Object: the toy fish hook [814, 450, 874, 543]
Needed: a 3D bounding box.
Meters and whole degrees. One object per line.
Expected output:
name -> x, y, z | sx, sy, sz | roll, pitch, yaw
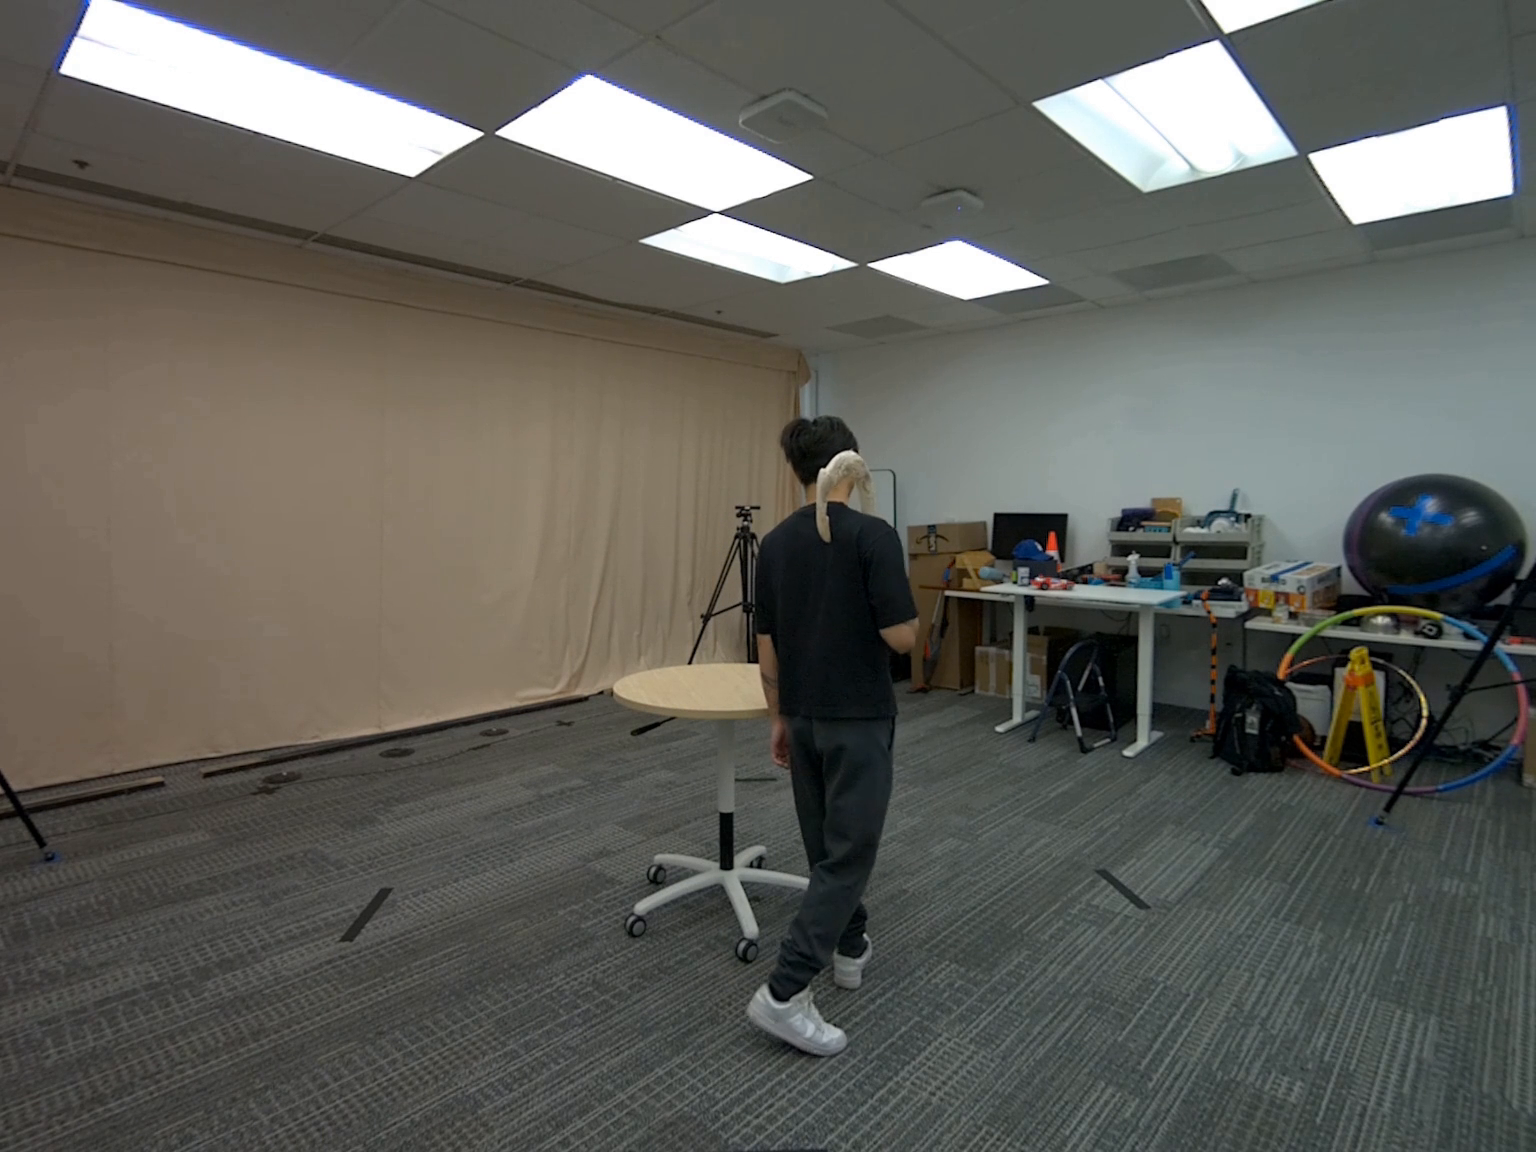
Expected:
toy fish hook -> 0.235, -0.097, 2.287 | 0.222, 0.494, 0.050 | -38, 33, -27
